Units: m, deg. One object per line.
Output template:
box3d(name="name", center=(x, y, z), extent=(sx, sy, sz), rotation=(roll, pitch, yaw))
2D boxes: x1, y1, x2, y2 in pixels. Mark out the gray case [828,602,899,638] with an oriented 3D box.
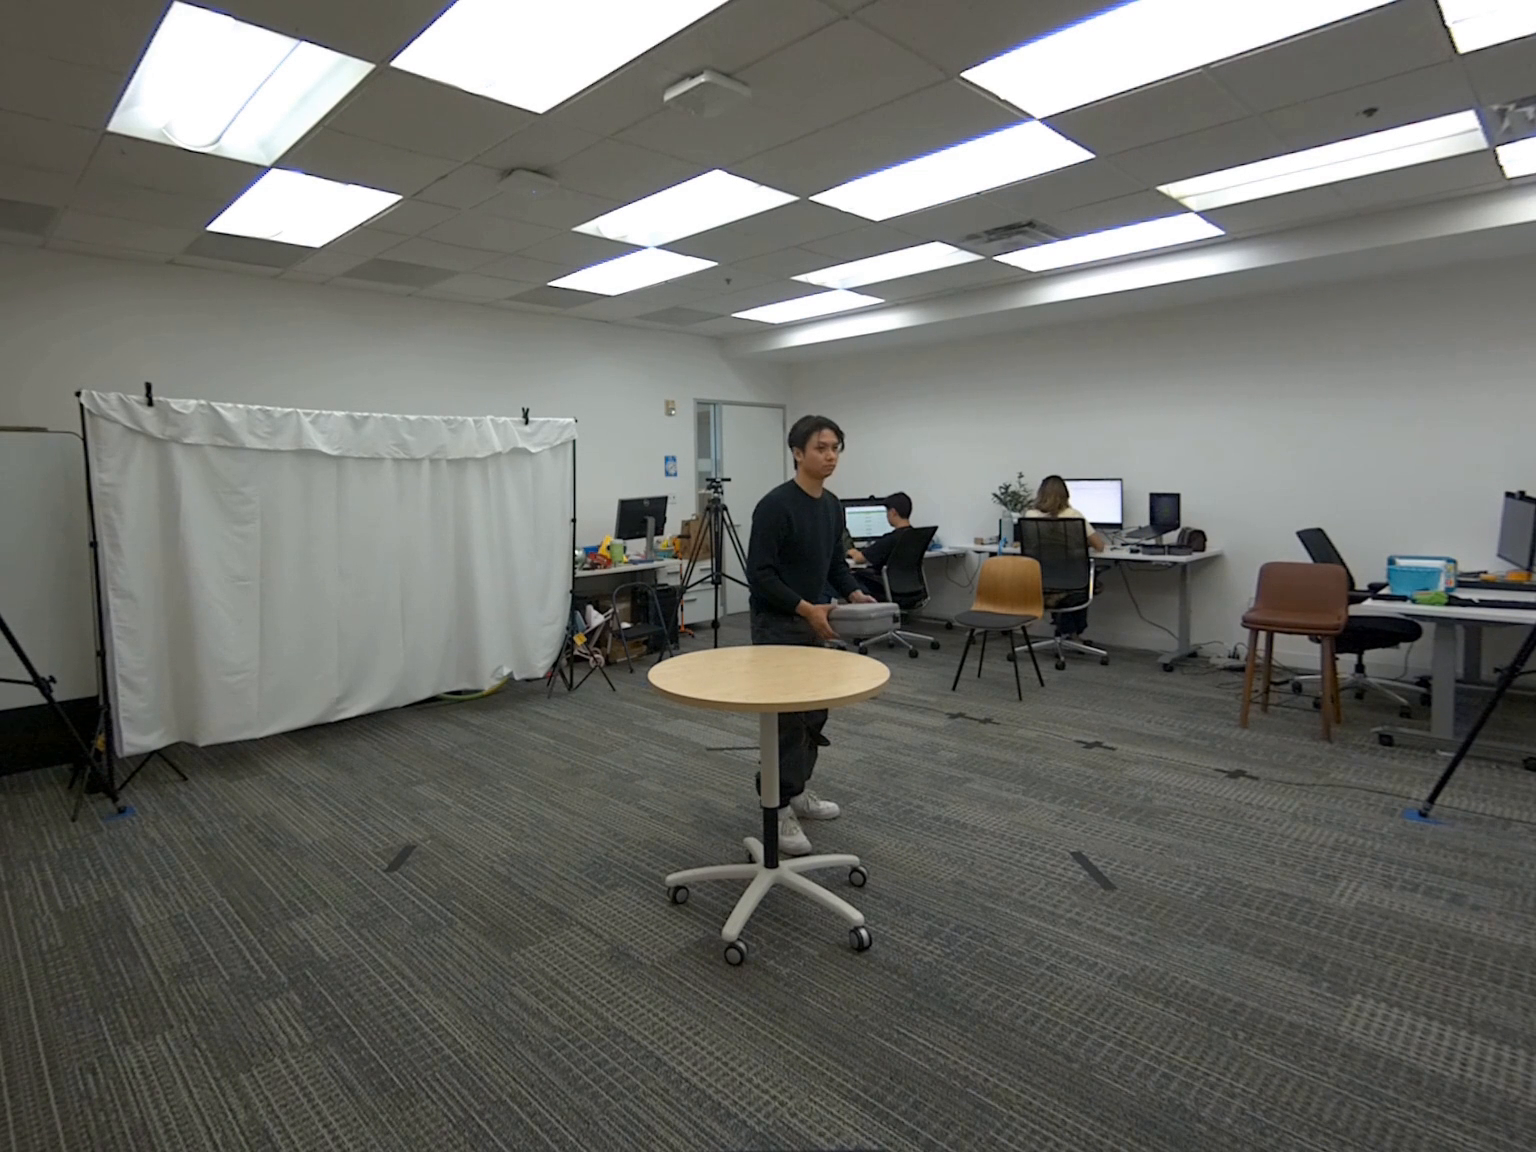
box3d(name="gray case", center=(0.334, 0.171, 3.266), extent=(0.250, 0.104, 0.268), rotation=(-6, 3, -42))
